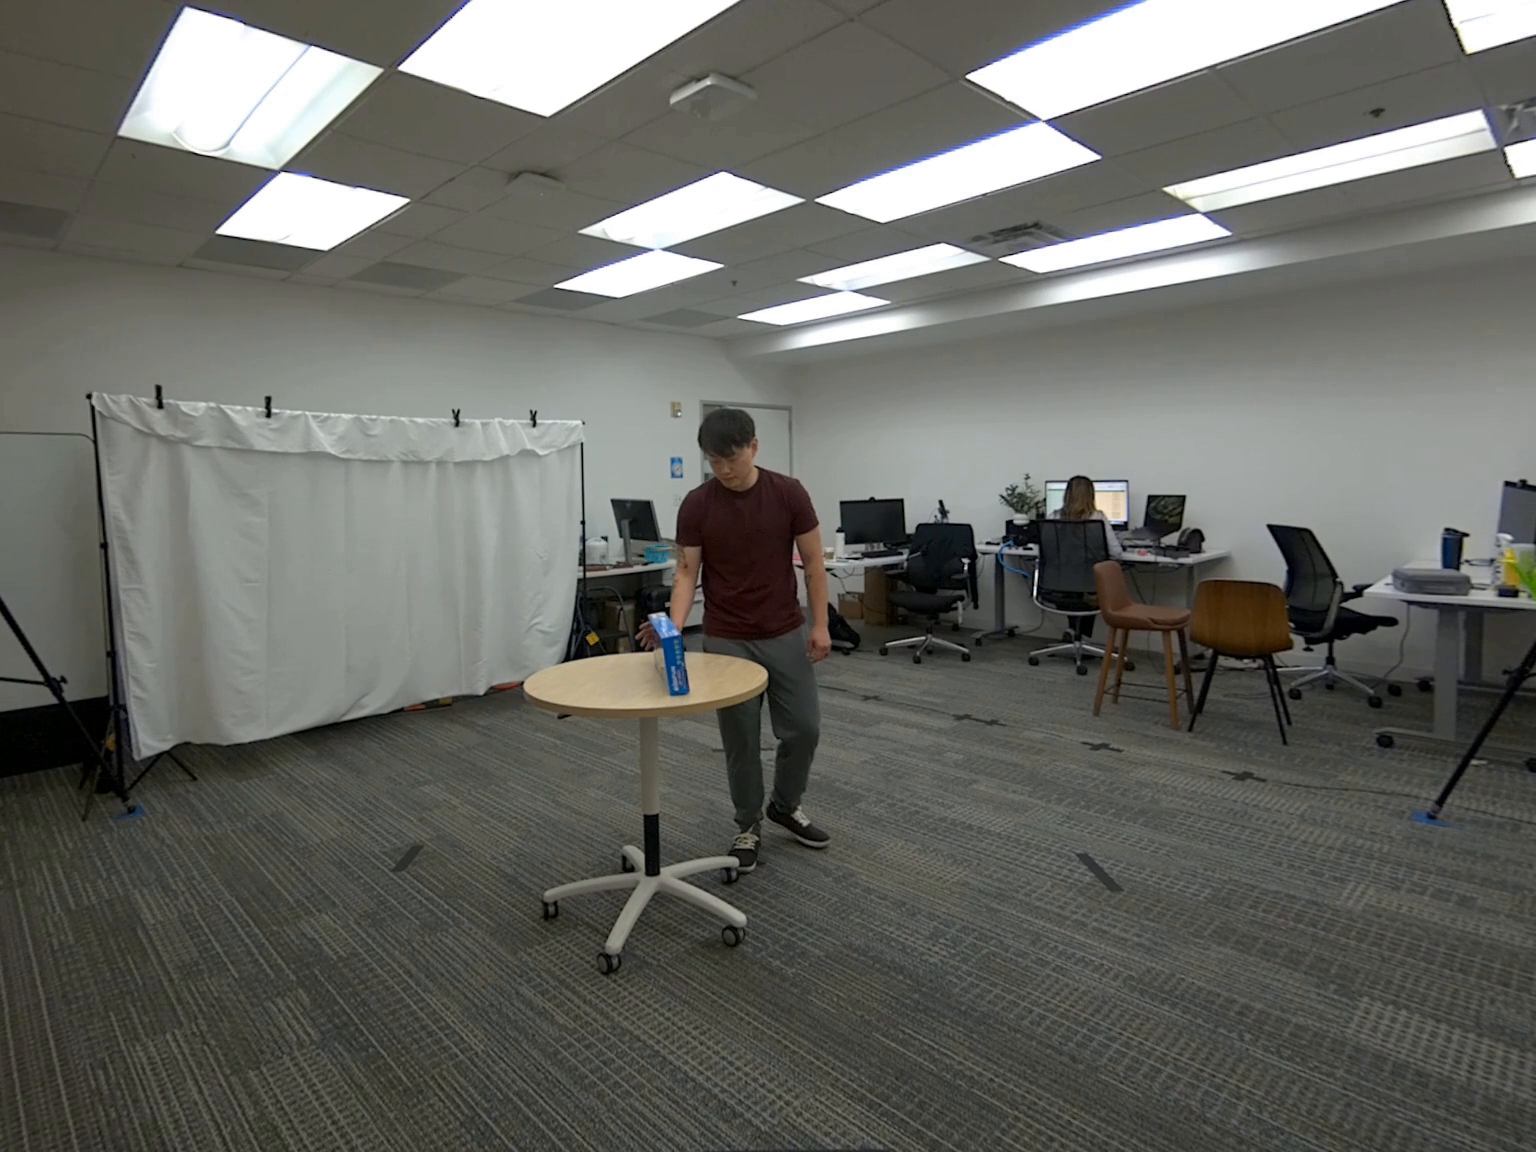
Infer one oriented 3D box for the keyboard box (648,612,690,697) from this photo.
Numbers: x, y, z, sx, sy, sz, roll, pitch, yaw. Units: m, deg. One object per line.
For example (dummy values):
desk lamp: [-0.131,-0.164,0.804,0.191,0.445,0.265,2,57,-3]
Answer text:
keyboard box: [-0.316,0.236,2.659,0.059,0.175,0.443,-10,8,-10]
